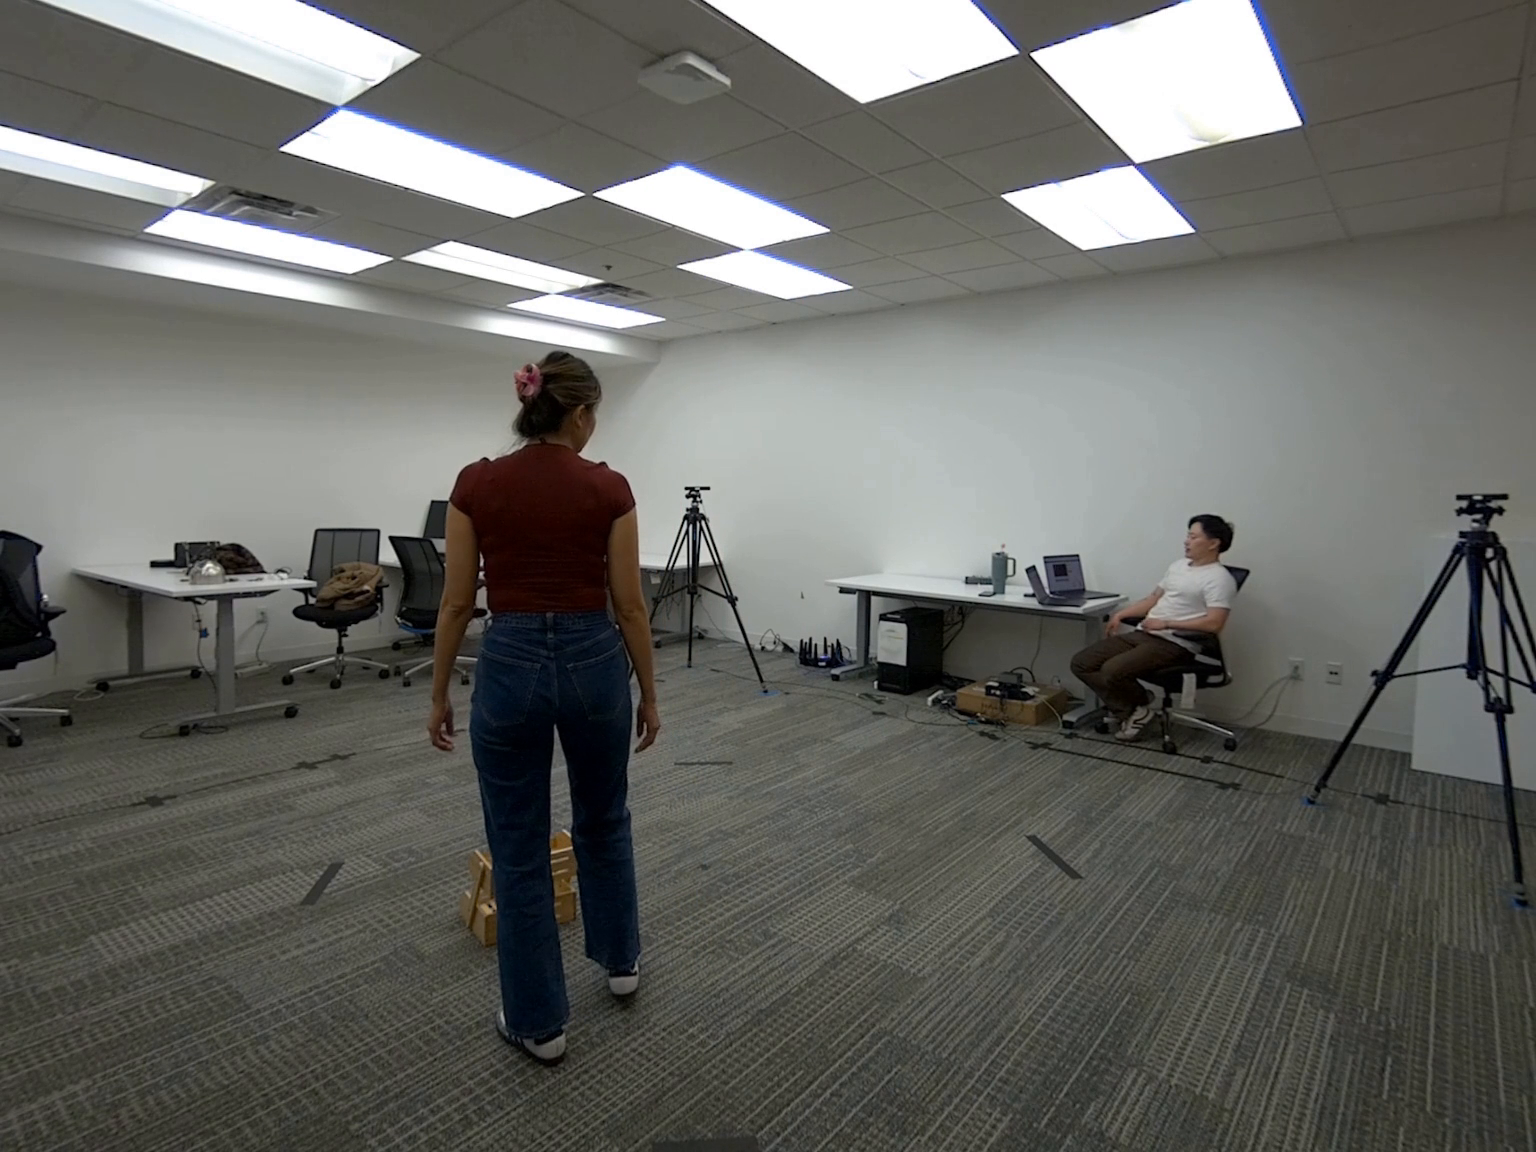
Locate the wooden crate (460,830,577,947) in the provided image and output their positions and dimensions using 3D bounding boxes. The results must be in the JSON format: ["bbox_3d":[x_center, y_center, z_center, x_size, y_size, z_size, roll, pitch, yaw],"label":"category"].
[{"bbox_3d":[-0.802,0.963,2.717,0.315,0.272,0.312,-2,5,-36],"label":"wooden crate"}]
